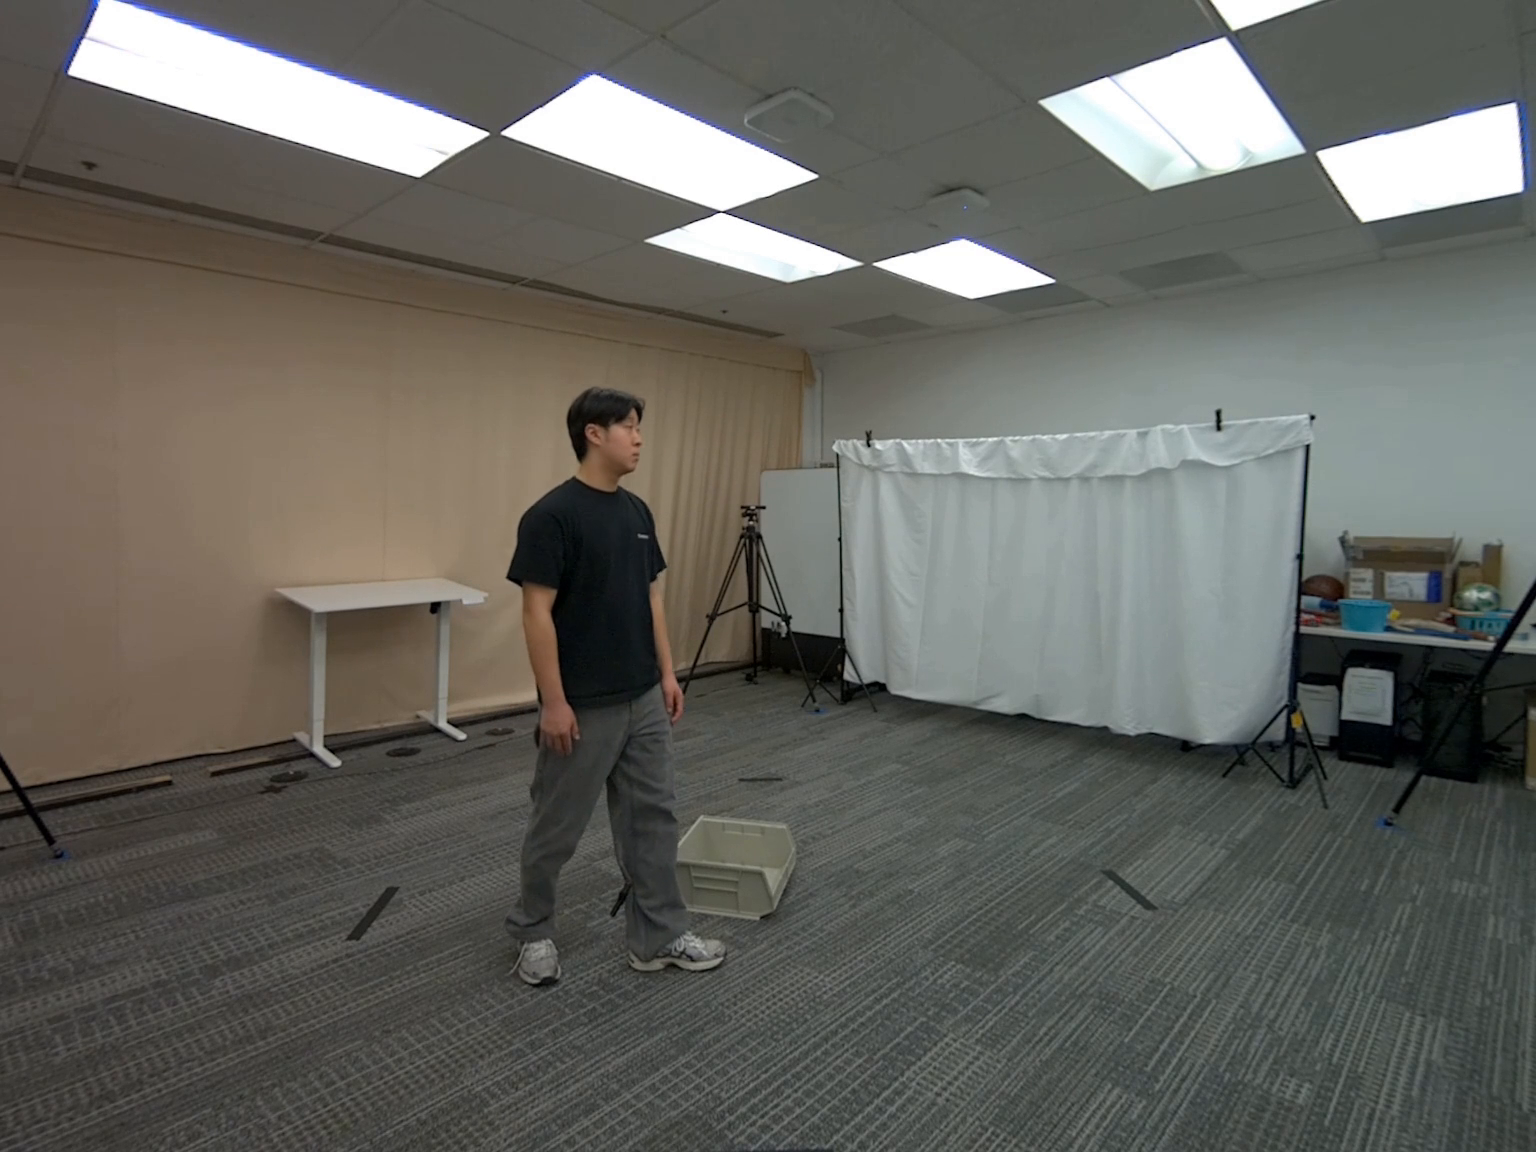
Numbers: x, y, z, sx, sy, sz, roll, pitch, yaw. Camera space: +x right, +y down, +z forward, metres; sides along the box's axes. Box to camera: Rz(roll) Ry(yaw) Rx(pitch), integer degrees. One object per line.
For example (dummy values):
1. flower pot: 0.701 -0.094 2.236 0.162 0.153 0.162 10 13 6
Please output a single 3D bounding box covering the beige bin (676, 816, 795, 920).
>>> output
1. beige bin: -0.118 1.049 3.054 0.383 0.188 0.417 0 5 13
